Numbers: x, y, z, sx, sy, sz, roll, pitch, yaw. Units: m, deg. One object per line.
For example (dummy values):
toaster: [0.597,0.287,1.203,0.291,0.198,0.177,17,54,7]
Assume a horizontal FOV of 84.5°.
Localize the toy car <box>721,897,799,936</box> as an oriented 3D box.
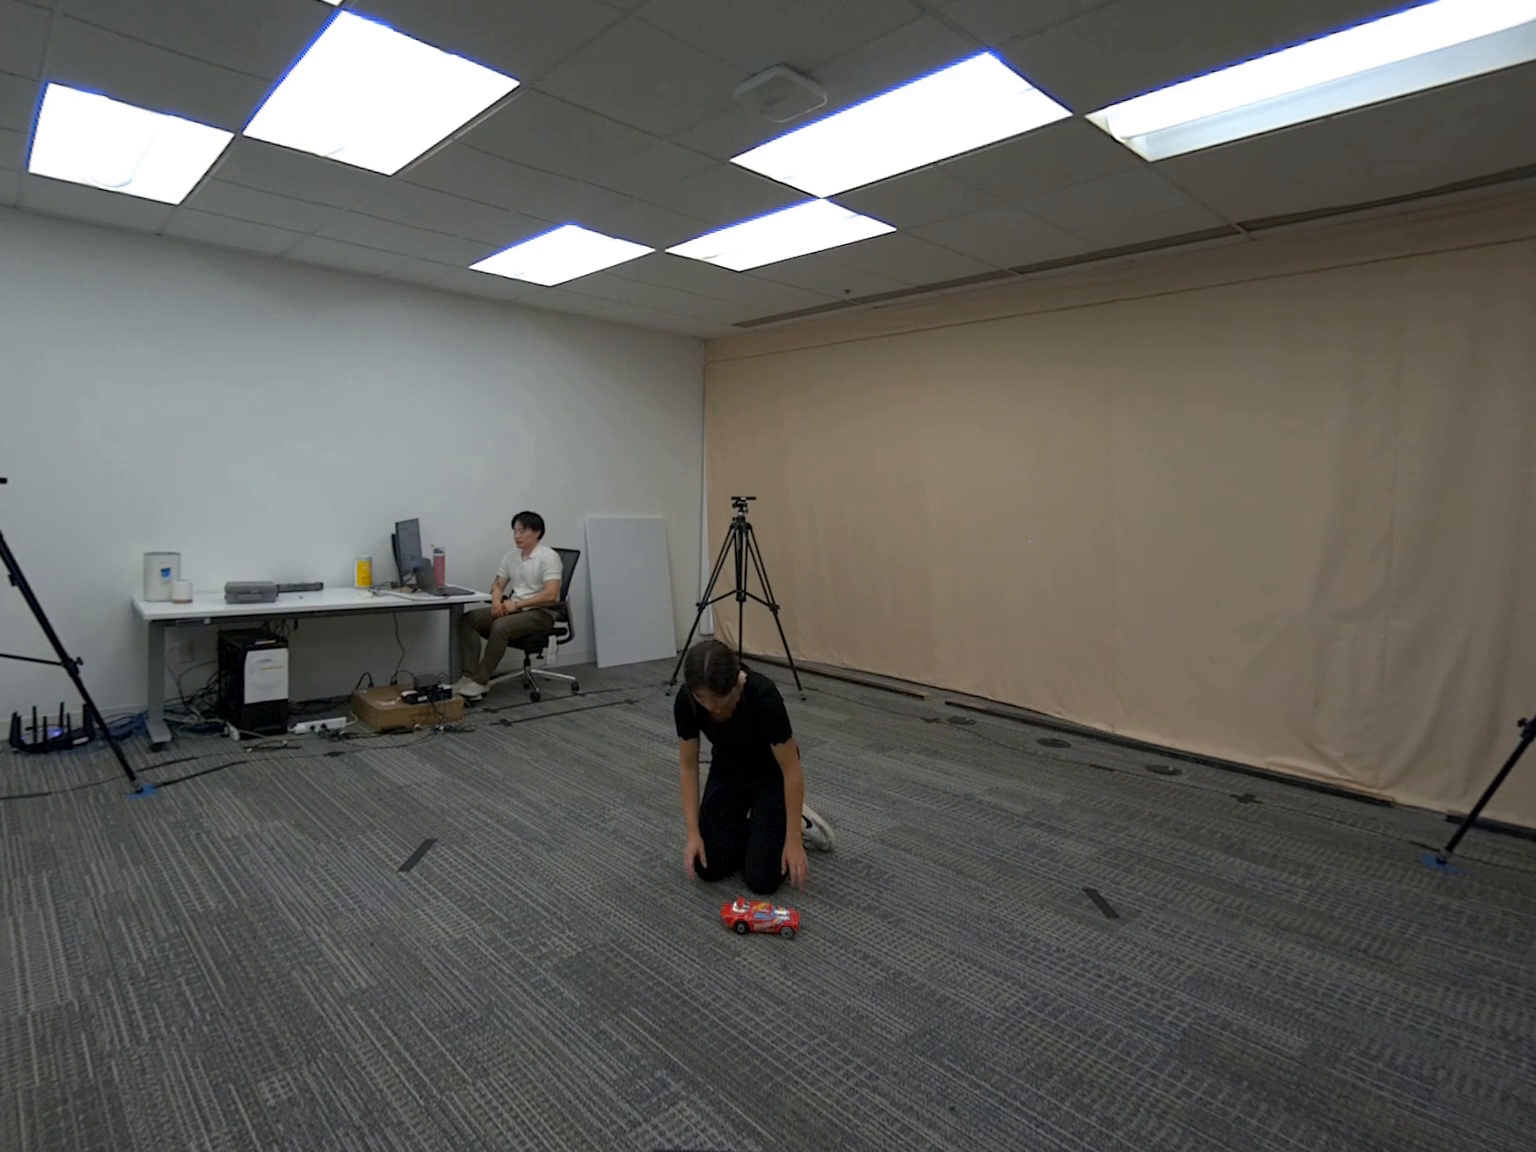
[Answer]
toy car: [-0.043,1.112,2.727,0.256,0.083,0.130,13,6,5]
